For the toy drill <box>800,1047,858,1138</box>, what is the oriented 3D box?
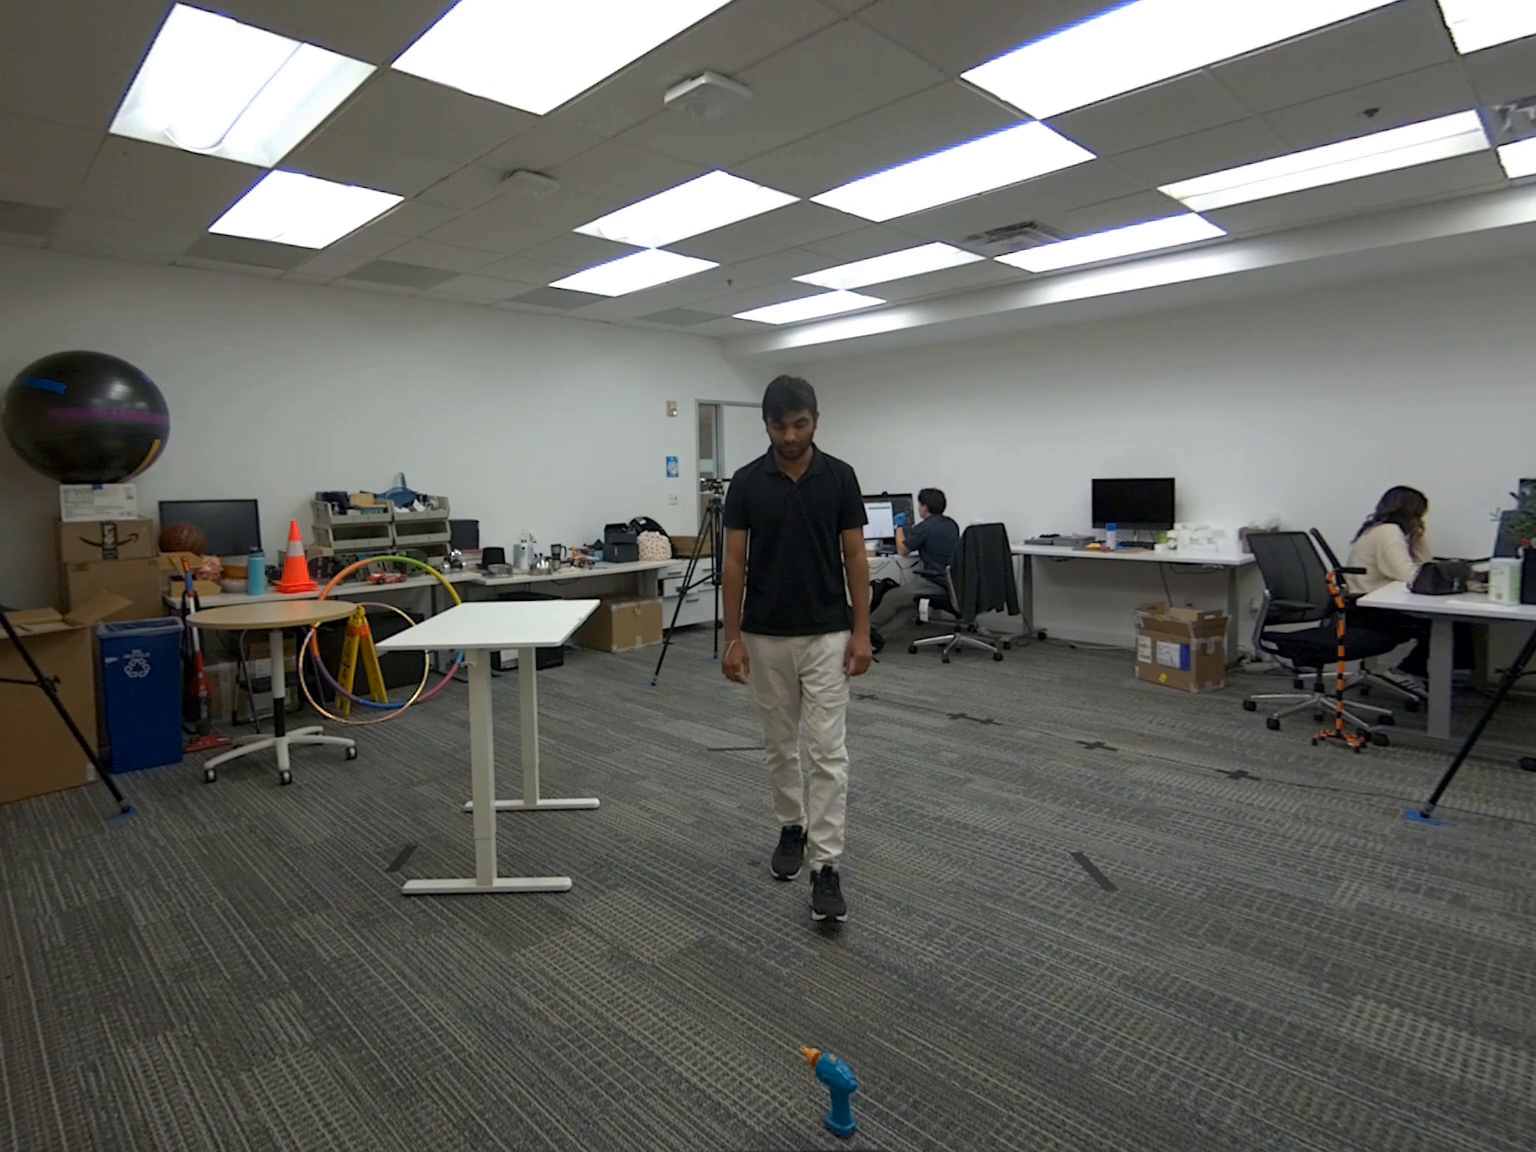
[{"bbox_3d":[0.140,1.121,1.861,0.059,0.145,0.175,-1,7,-39],"label":"toy drill"}]
